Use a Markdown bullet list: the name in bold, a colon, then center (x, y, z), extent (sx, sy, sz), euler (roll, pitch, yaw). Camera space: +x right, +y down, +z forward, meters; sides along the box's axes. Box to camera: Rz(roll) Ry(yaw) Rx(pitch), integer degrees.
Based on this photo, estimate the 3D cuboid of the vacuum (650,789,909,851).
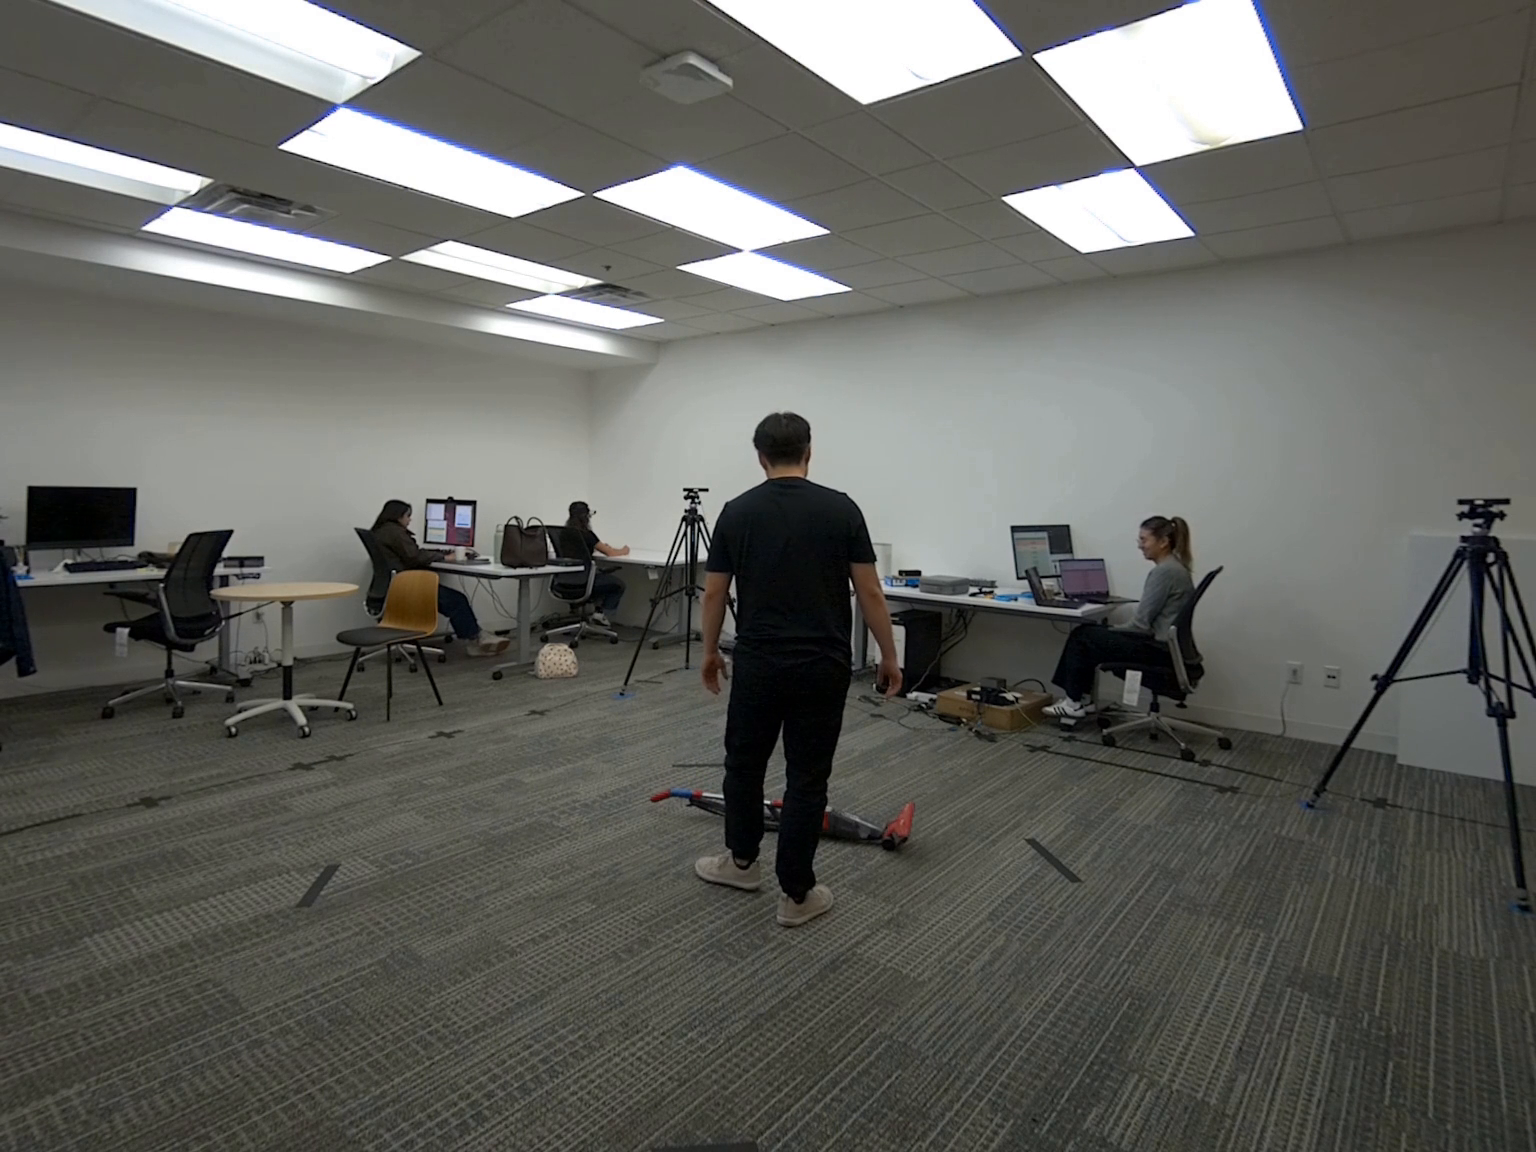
- **vacuum**: center (0.005, 0.984, 3.502), extent (1.069, 0.142, 0.251), euler (2, 16, 17)
